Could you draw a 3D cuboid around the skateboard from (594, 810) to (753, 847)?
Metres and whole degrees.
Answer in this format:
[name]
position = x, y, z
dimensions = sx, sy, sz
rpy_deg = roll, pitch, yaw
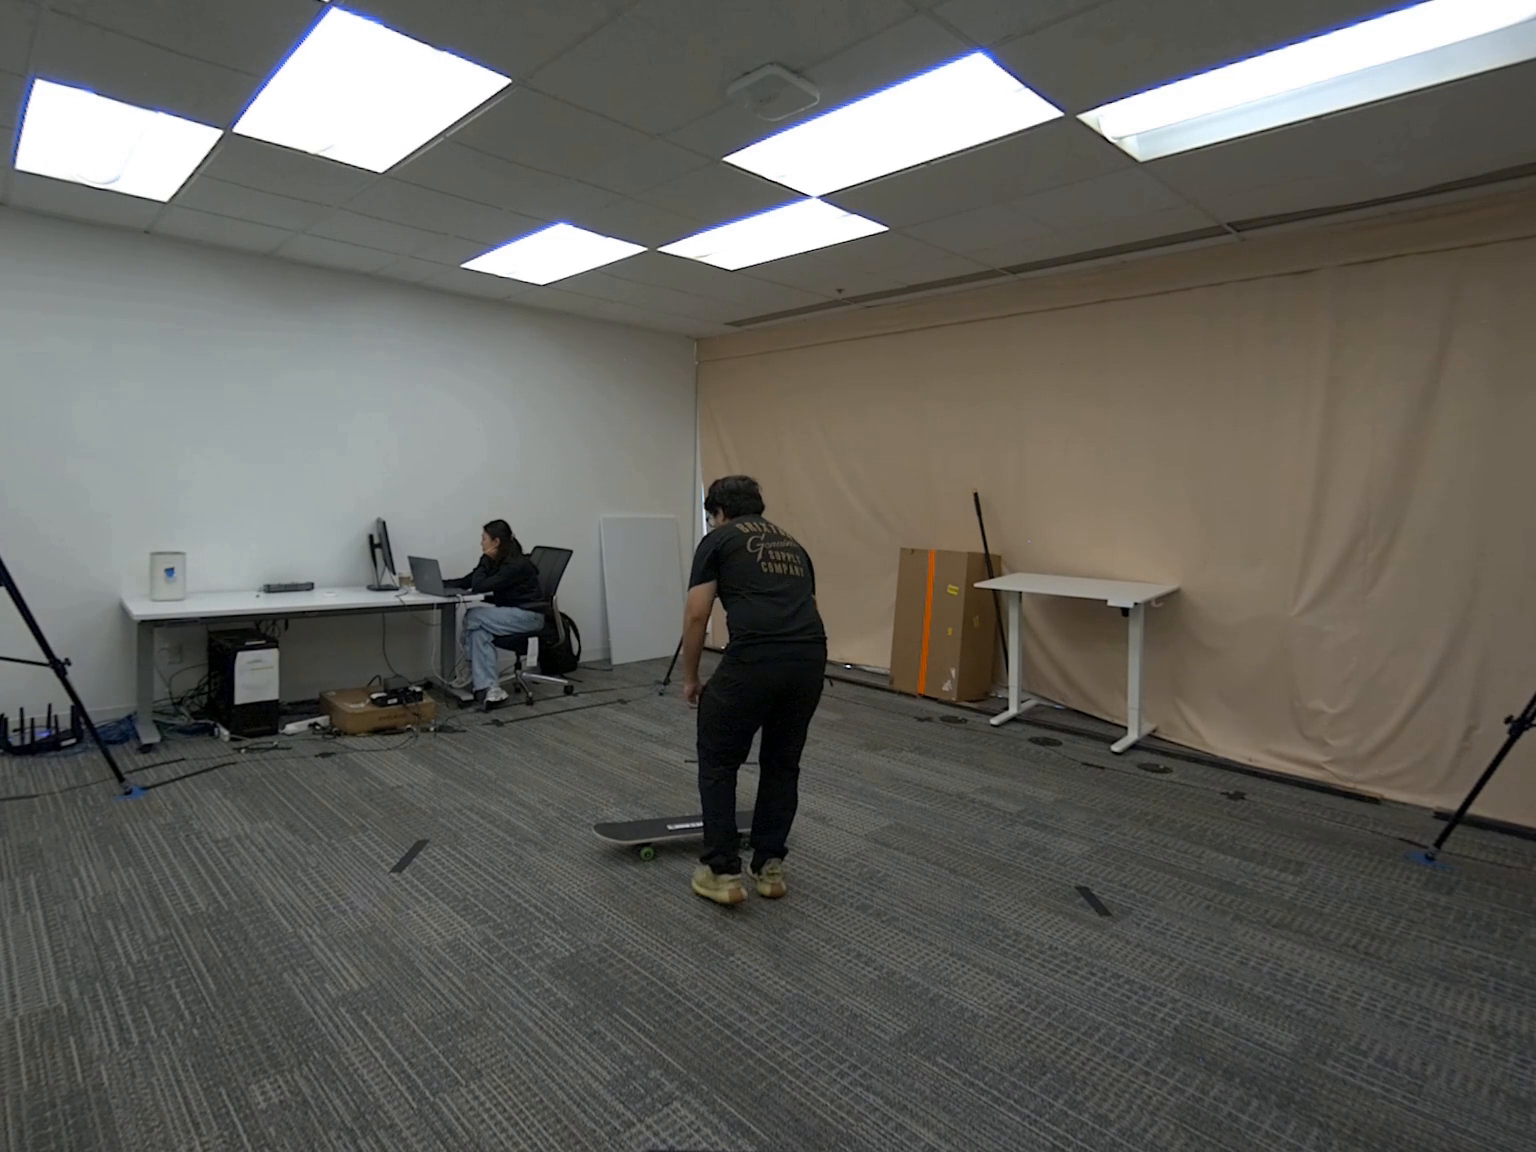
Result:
[skateboard]
position = -0.308, 1.021, 3.347
dimensions = 0.774, 0.110, 0.197
rpy_deg = 0, 5, -18
